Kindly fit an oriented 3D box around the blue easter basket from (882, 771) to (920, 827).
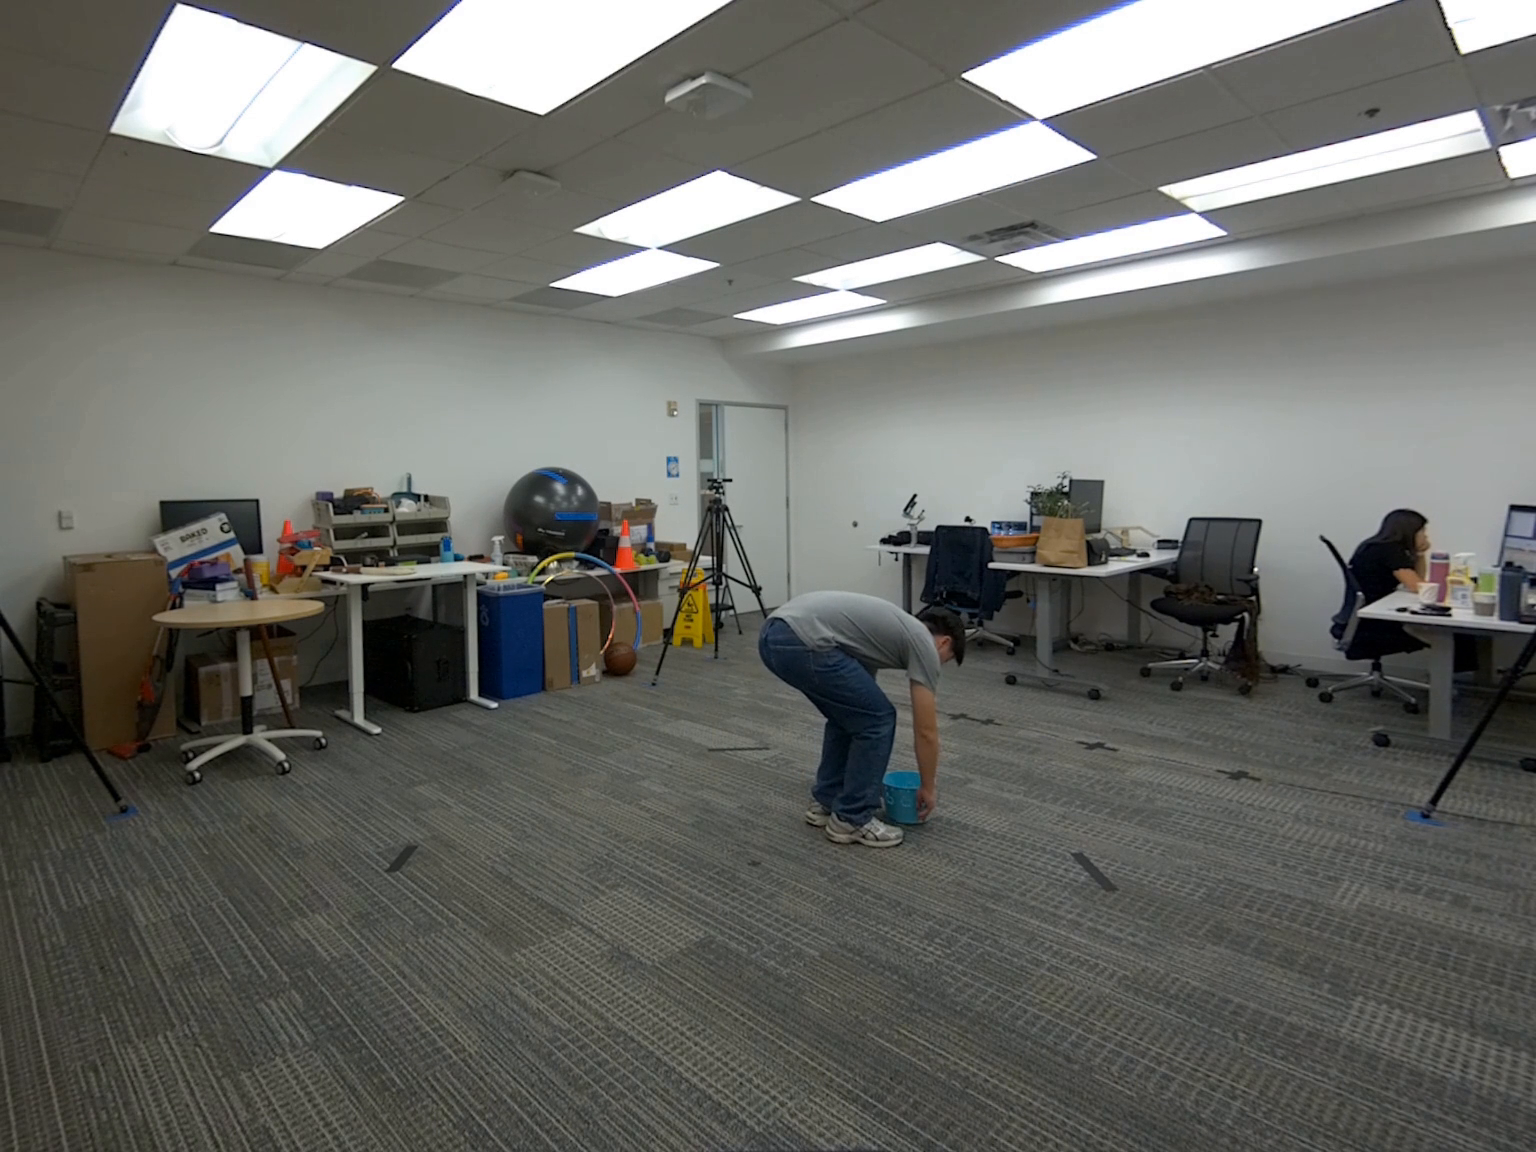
[{"bbox_3d":[0.576,0.900,3.504,0.243,0.155,0.244,-1,3,-2],"label":"blue easter basket"}]
